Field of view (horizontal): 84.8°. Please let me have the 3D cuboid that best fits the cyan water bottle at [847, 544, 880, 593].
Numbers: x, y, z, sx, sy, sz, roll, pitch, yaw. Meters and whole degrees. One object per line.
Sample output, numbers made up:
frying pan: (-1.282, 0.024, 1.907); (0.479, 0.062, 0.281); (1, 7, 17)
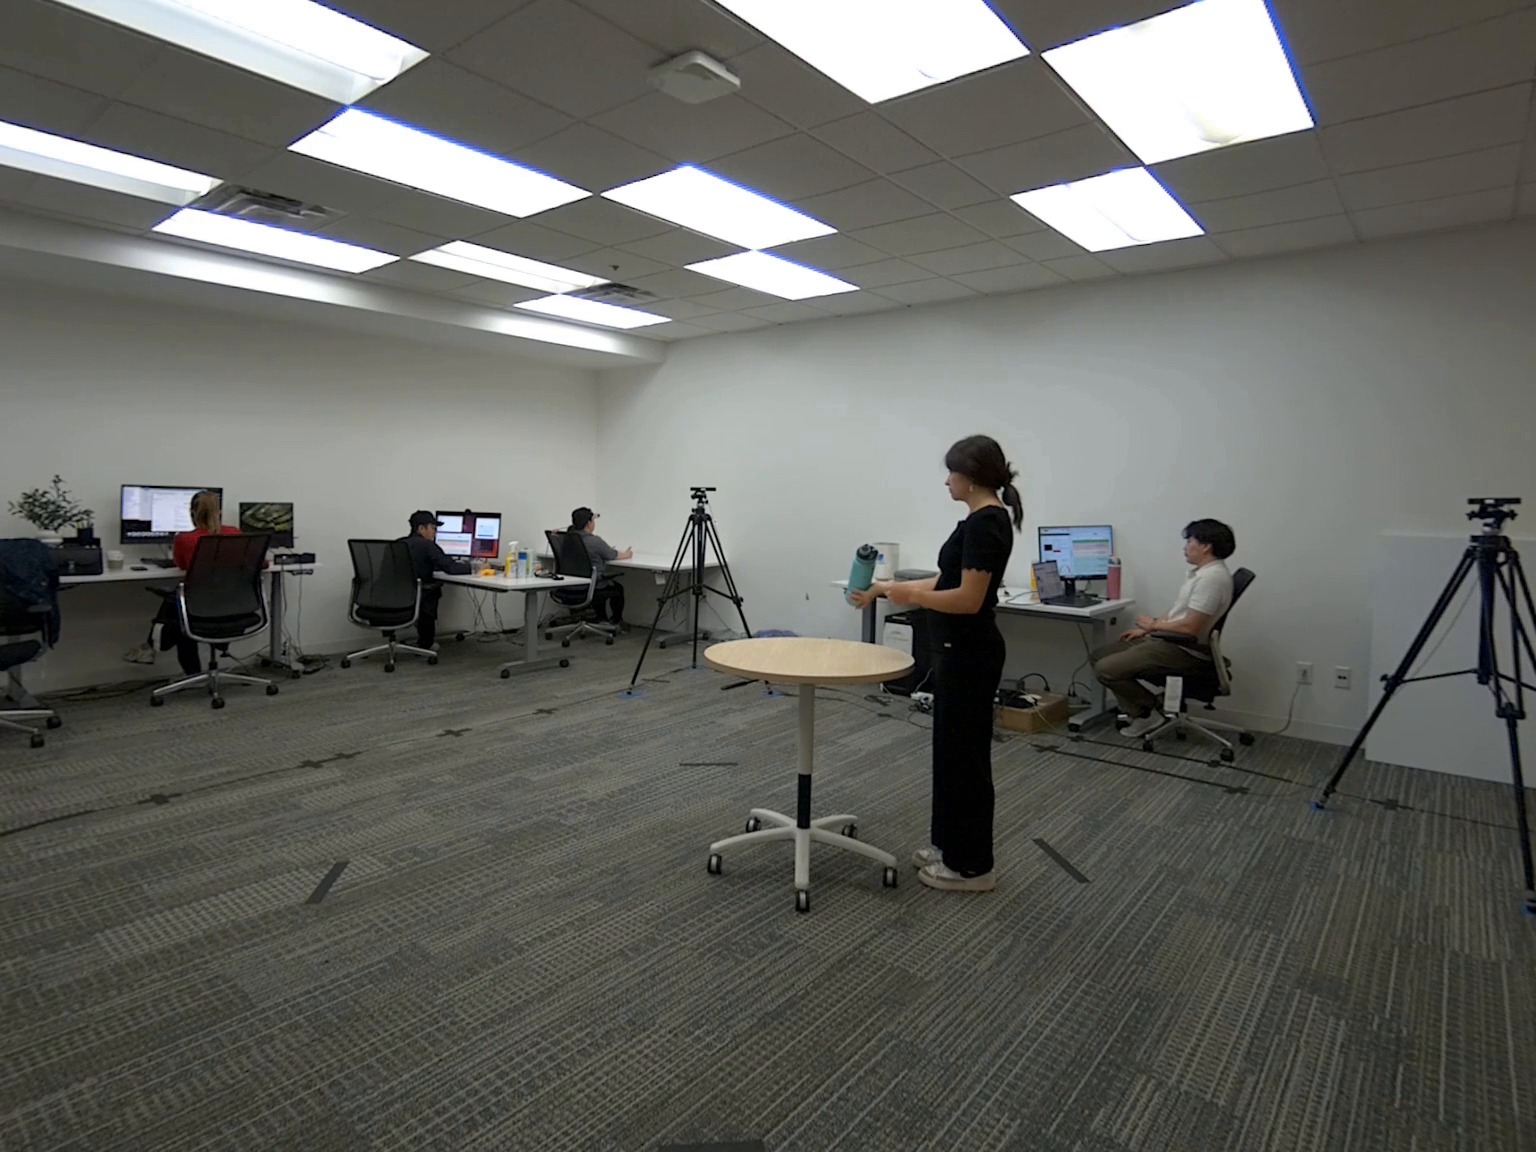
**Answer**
cyan water bottle: (0.362, -0.014, 3.383); (0.092, 0.276, 0.095); (3, 41, -4)
